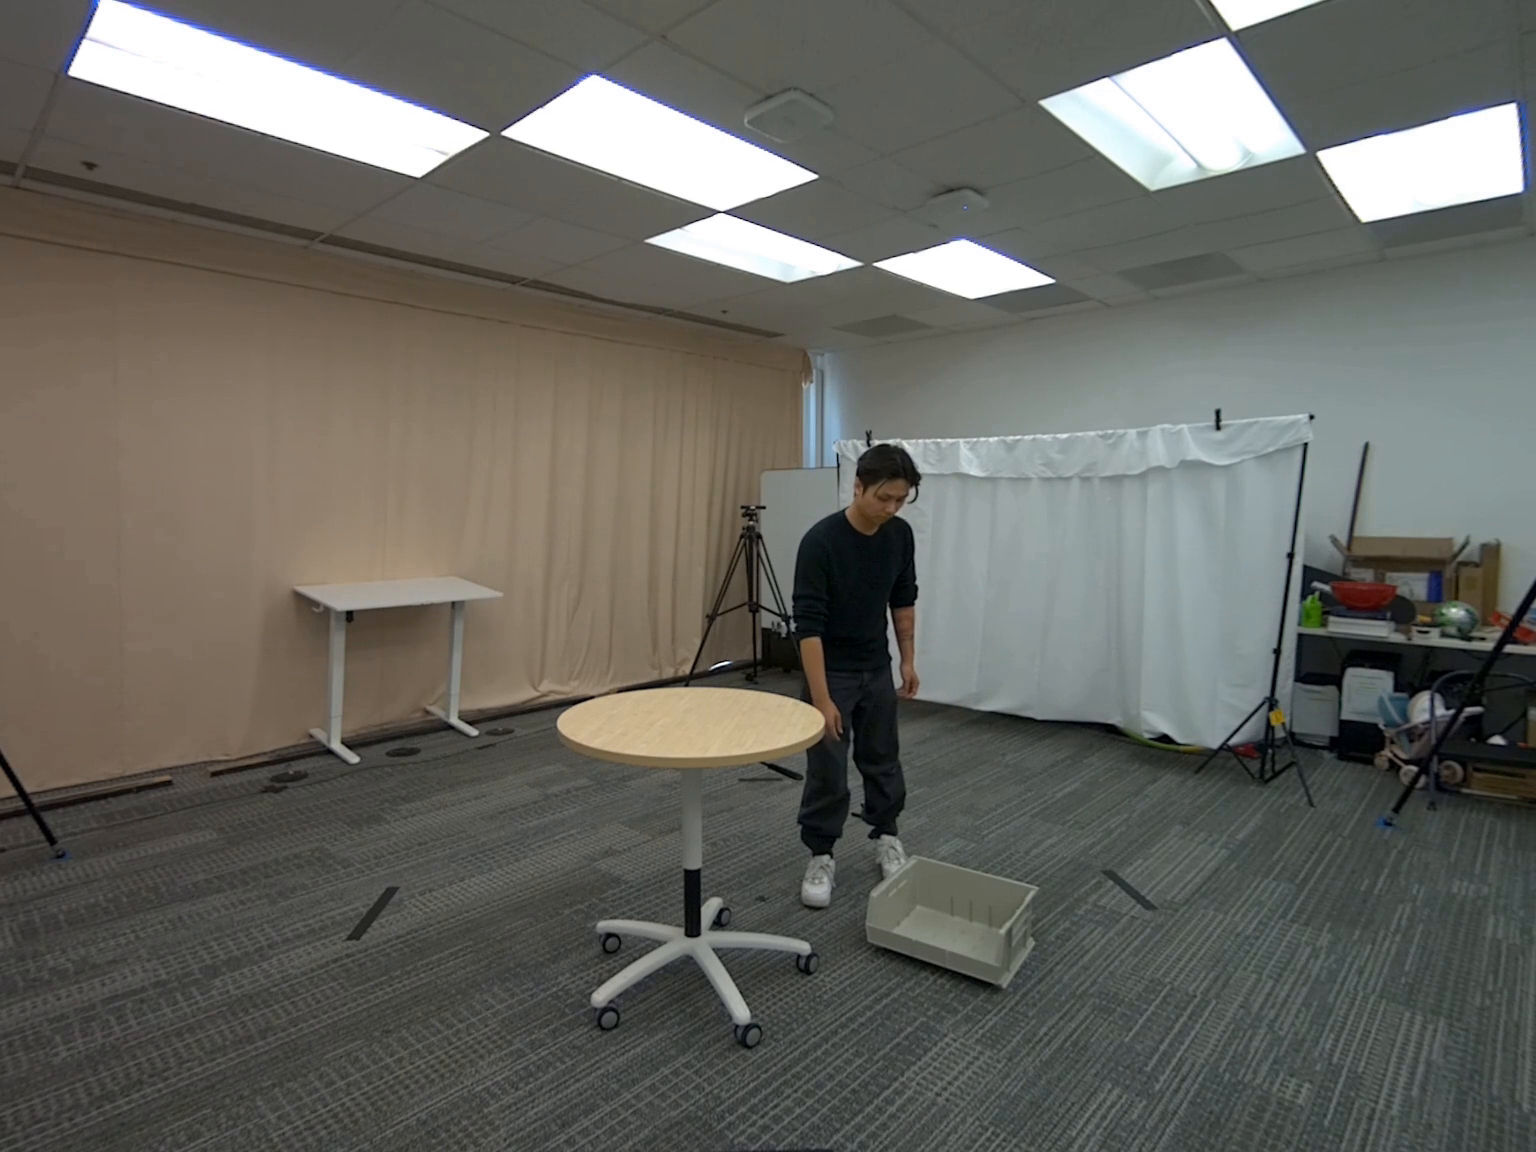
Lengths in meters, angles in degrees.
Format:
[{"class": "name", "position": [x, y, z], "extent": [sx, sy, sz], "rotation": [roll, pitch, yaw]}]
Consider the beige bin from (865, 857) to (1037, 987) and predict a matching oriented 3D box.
[{"class": "beige bin", "position": [0.591, 1.083, 2.646], "extent": [0.435, 0.188, 0.366], "rotation": [2, 4, 34]}]
